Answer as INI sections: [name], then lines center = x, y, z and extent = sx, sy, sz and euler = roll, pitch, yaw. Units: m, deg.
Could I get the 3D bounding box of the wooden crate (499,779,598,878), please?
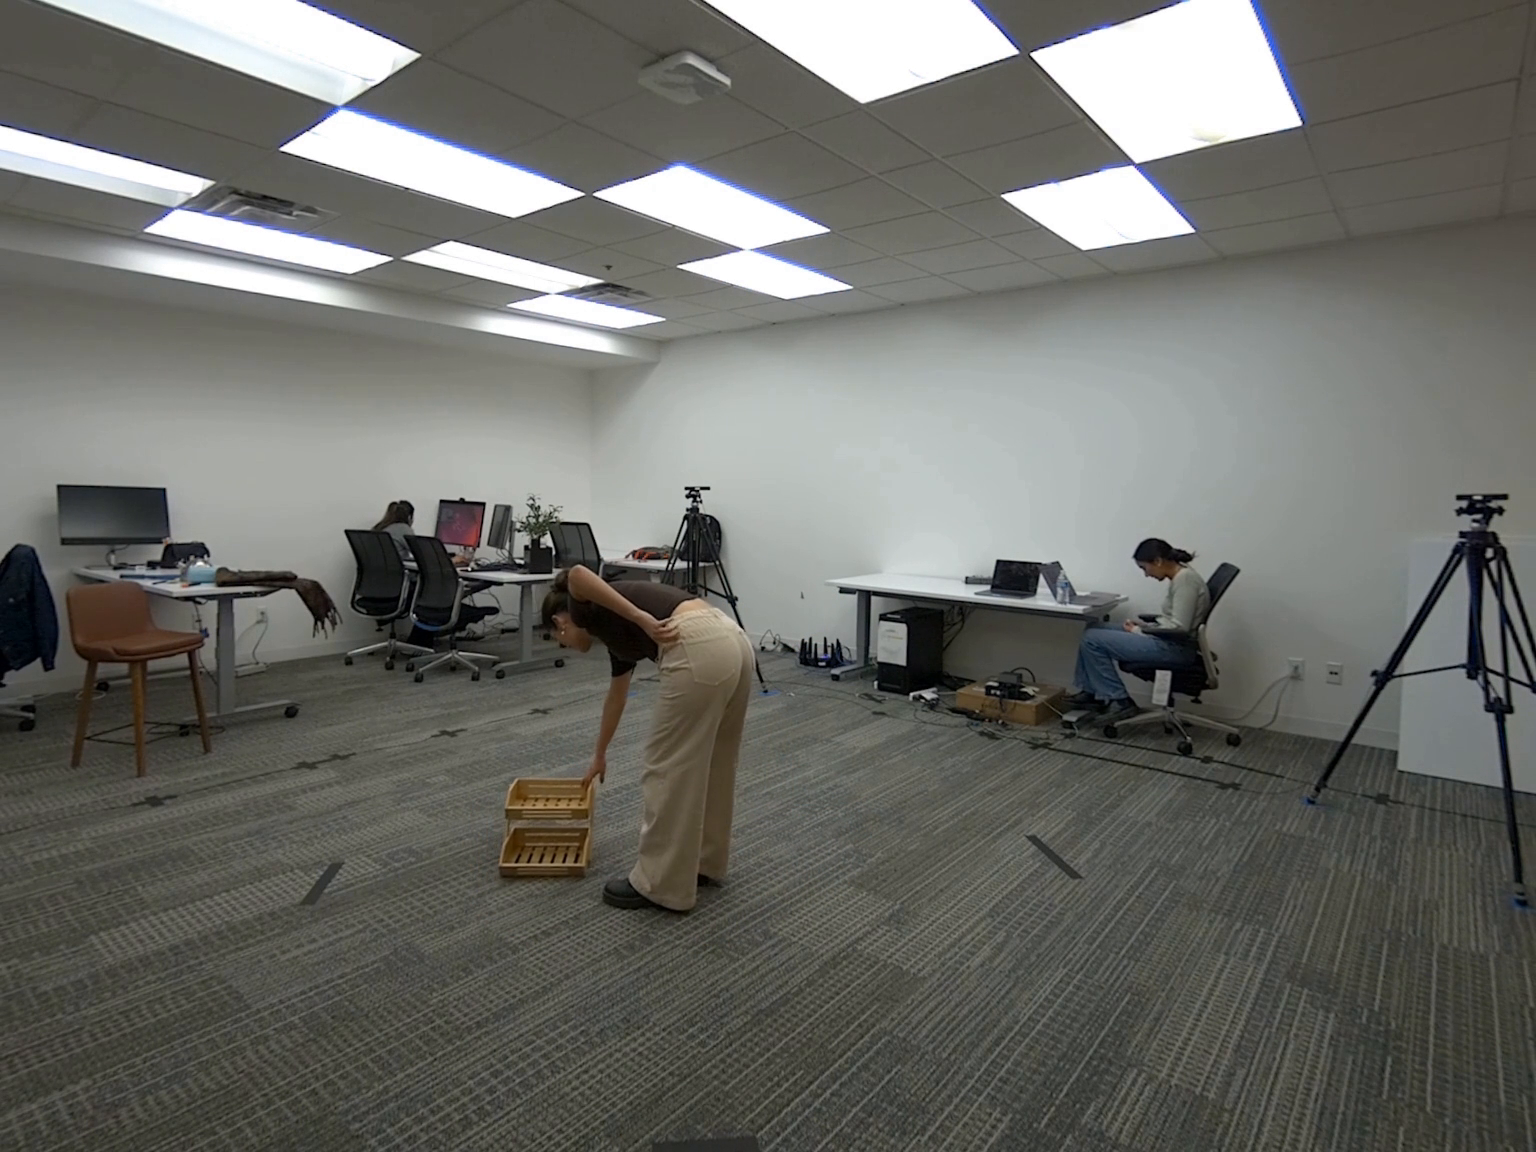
[wooden crate]
center = -0.822, 0.920, 3.137
extent = 0.323, 0.273, 0.304
euler = 0, 3, -4
